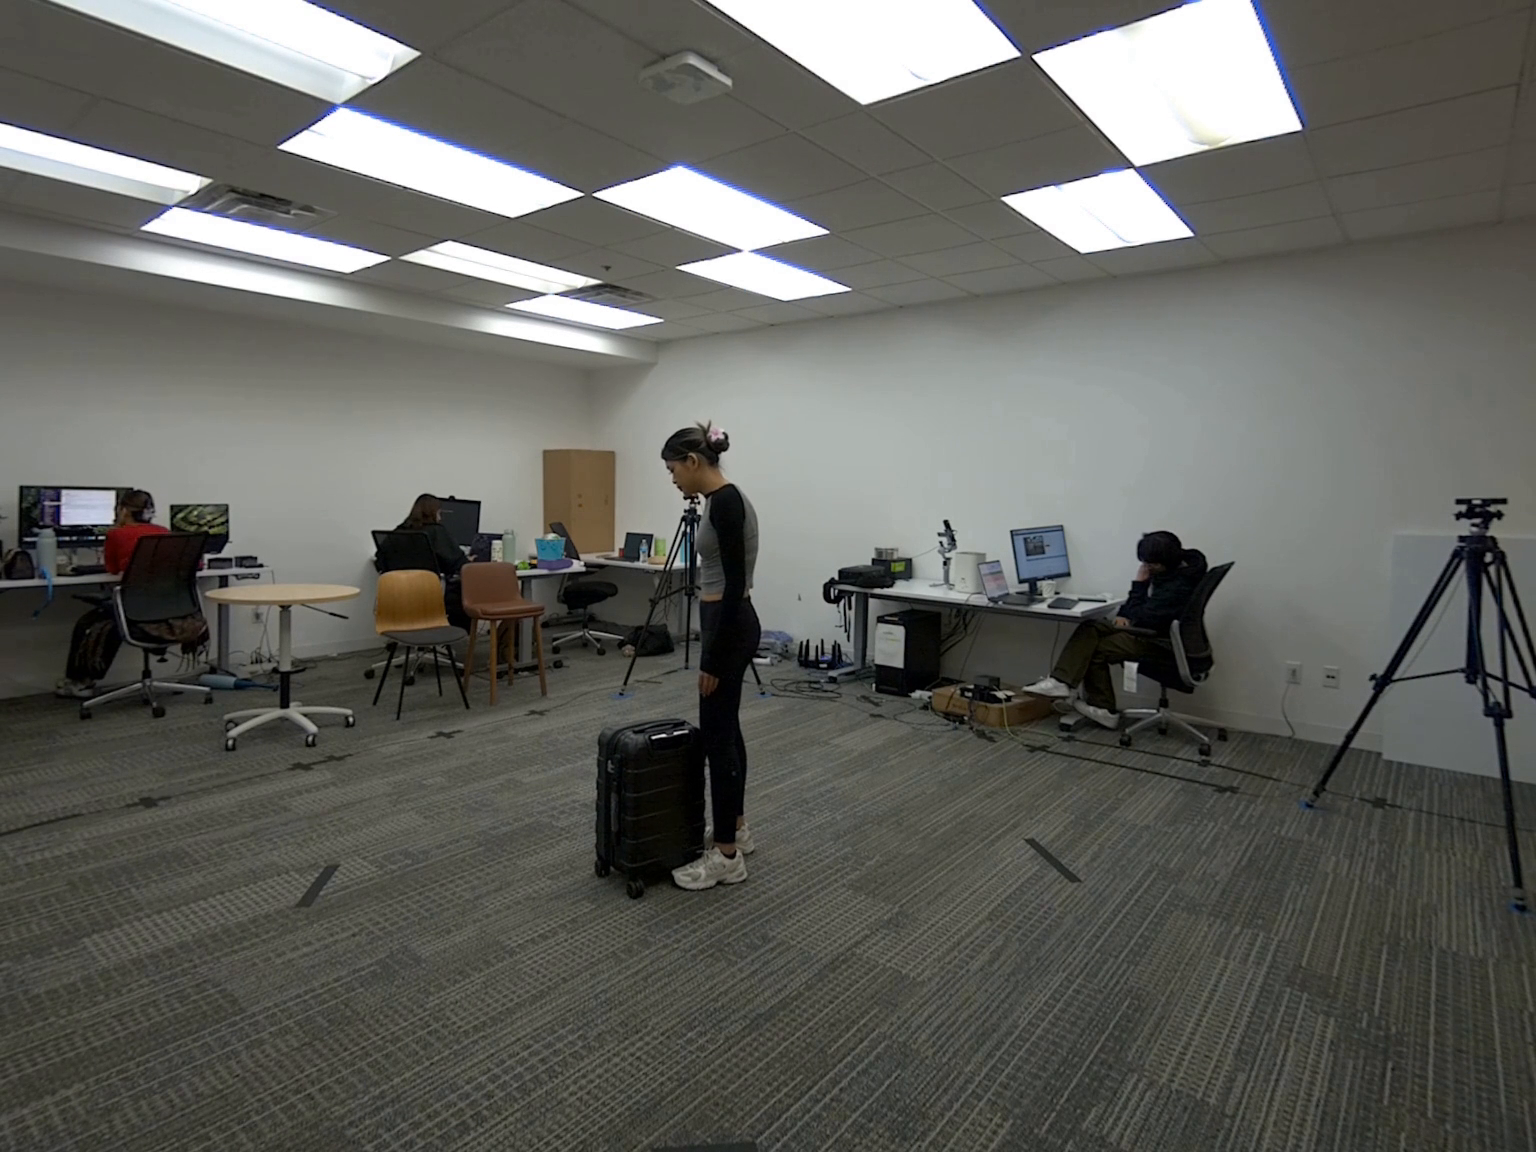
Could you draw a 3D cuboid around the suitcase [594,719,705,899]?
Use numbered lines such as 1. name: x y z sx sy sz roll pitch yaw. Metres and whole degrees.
1. suitcase: -0.438 0.796 3.060 0.364 0.548 0.256 -2 3 -39
